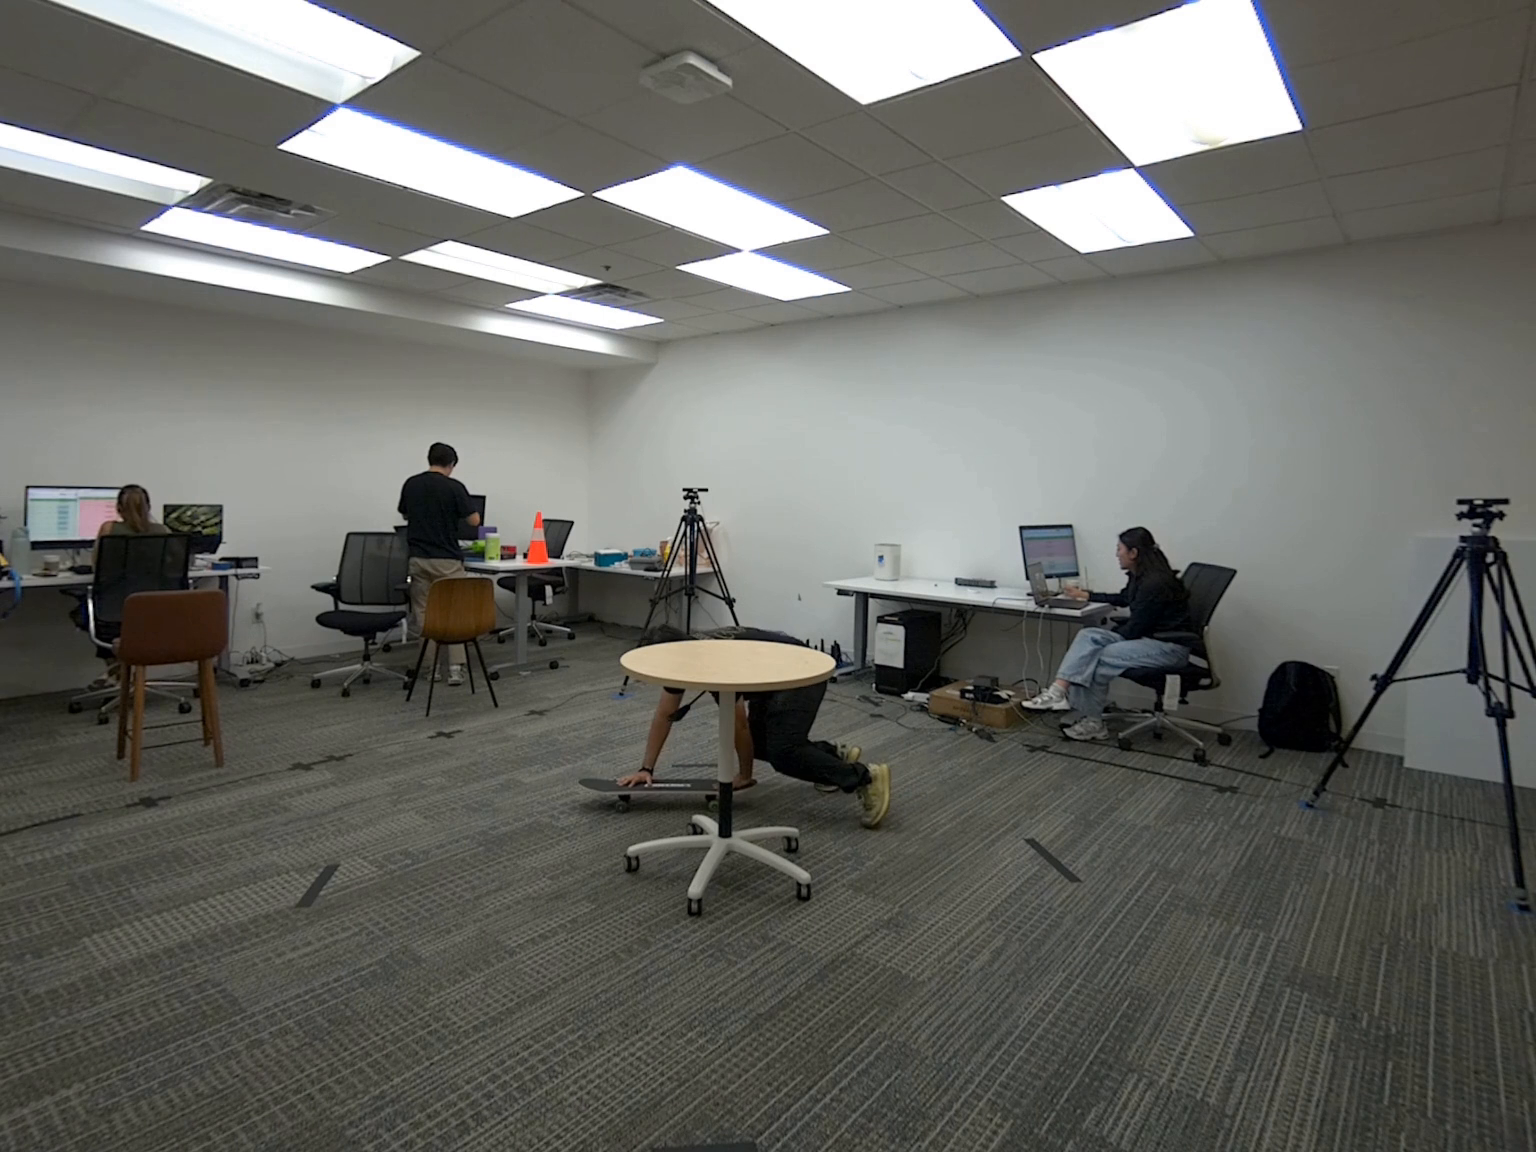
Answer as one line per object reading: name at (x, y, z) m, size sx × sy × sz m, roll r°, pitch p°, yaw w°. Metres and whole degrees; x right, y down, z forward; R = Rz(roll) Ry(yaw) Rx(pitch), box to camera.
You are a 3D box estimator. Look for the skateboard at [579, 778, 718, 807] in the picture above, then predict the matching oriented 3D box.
skateboard at (-0.465, 0.951, 3.743) m, size 0.782 × 0.110 × 0.194 m, roll 1°, pitch 1°, yaw -3°
